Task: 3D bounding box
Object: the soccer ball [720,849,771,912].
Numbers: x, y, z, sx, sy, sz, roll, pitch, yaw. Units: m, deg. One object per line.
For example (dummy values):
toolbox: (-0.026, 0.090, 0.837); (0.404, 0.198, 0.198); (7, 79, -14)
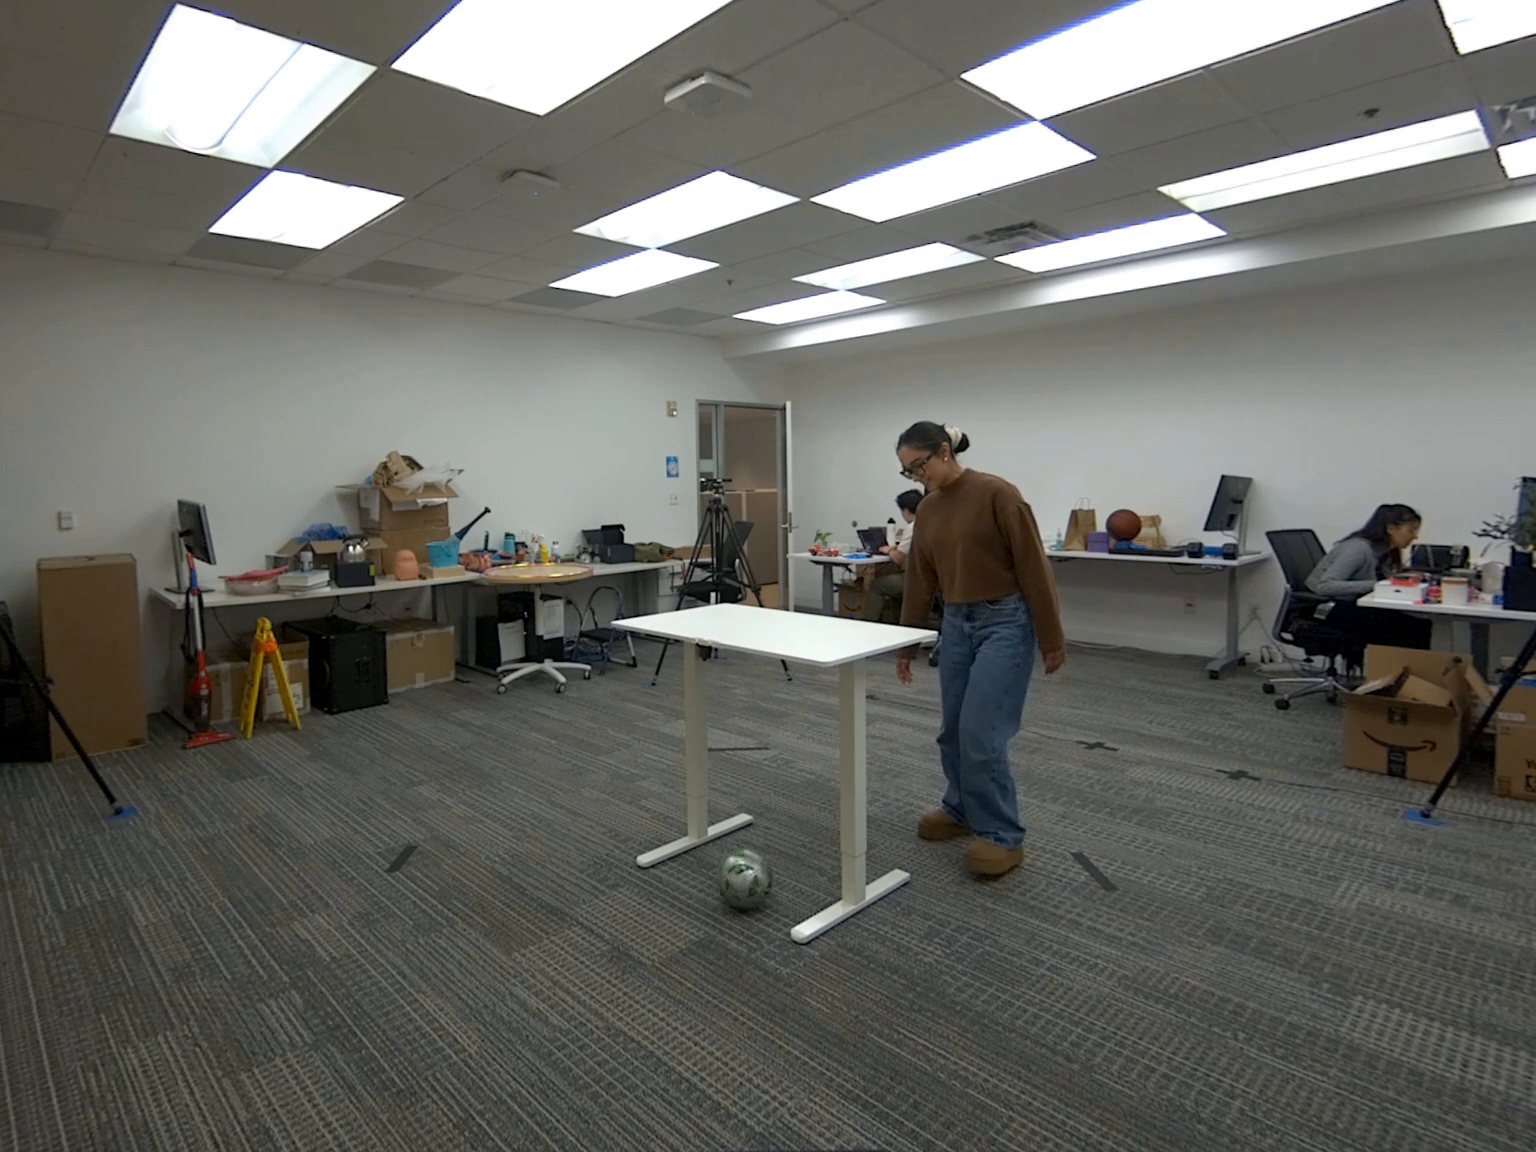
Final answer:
soccer ball: (-0.070, 0.989, 2.791); (0.187, 0.187, 0.188); (-1, 5, -2)
